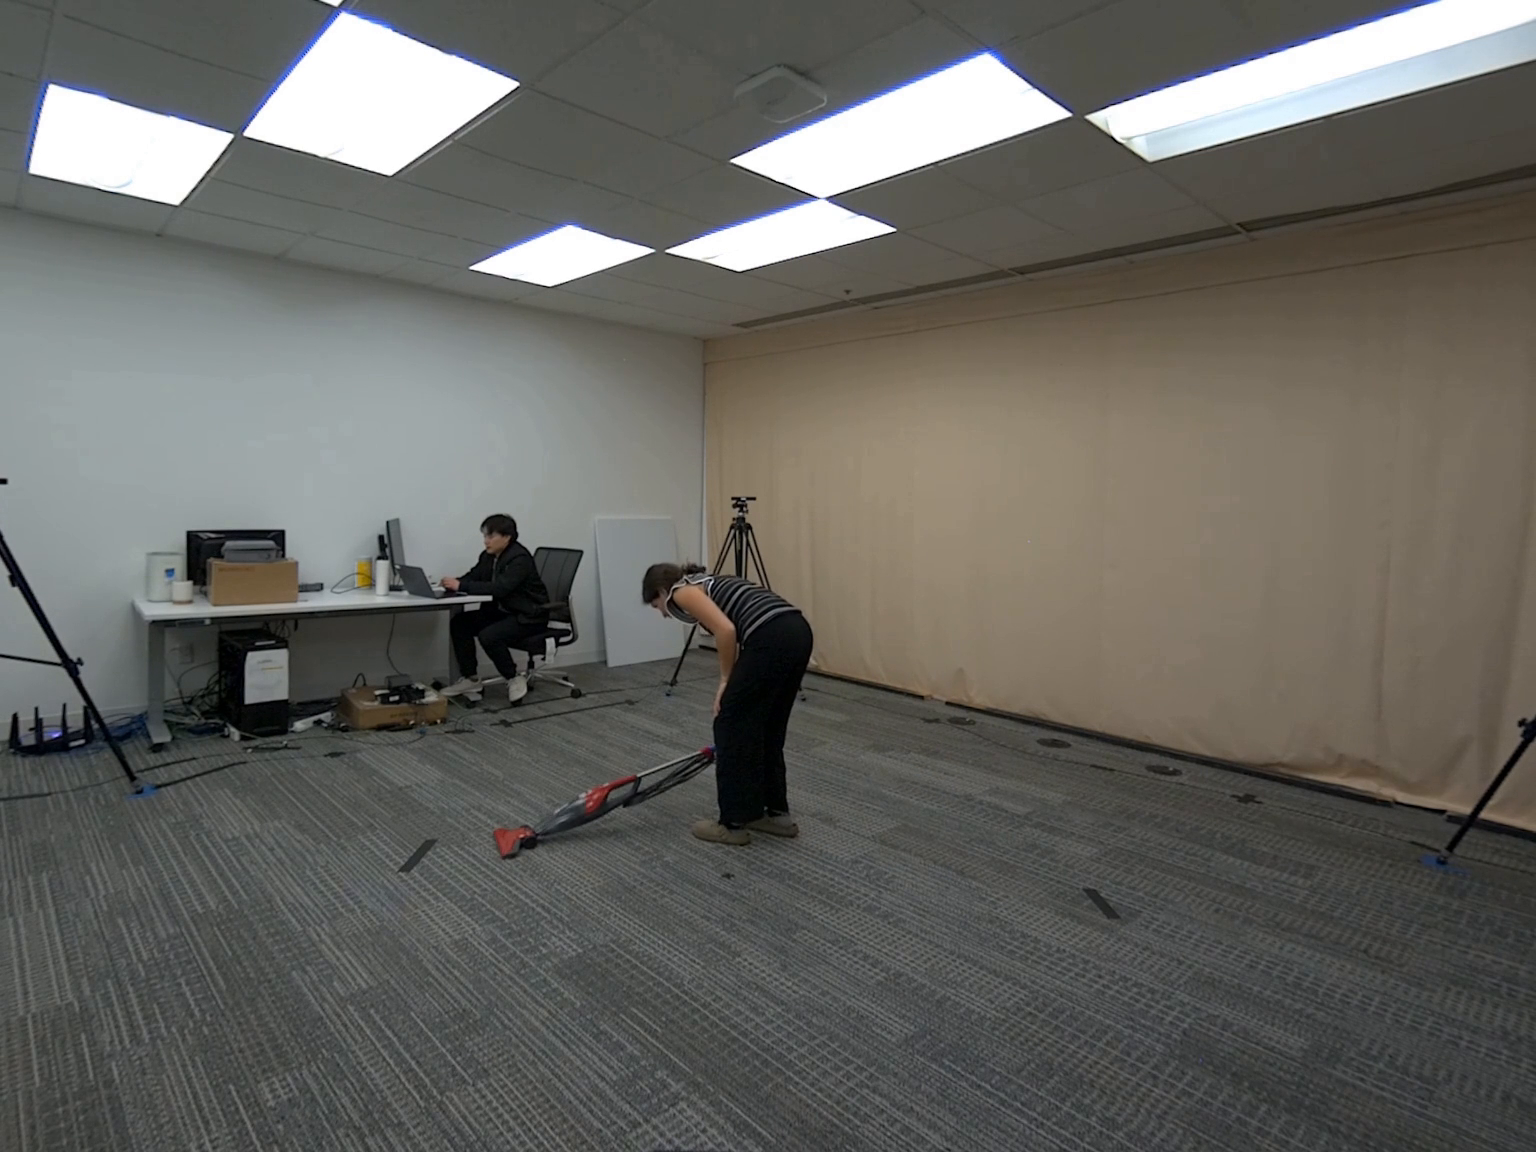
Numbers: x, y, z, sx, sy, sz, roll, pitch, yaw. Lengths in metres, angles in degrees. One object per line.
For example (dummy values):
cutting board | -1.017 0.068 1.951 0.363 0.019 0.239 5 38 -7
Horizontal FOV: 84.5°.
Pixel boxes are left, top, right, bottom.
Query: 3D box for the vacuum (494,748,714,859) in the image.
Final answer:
vacuum | -0.564 0.896 3.522 1.037 0.142 0.259 -16 19 -22
